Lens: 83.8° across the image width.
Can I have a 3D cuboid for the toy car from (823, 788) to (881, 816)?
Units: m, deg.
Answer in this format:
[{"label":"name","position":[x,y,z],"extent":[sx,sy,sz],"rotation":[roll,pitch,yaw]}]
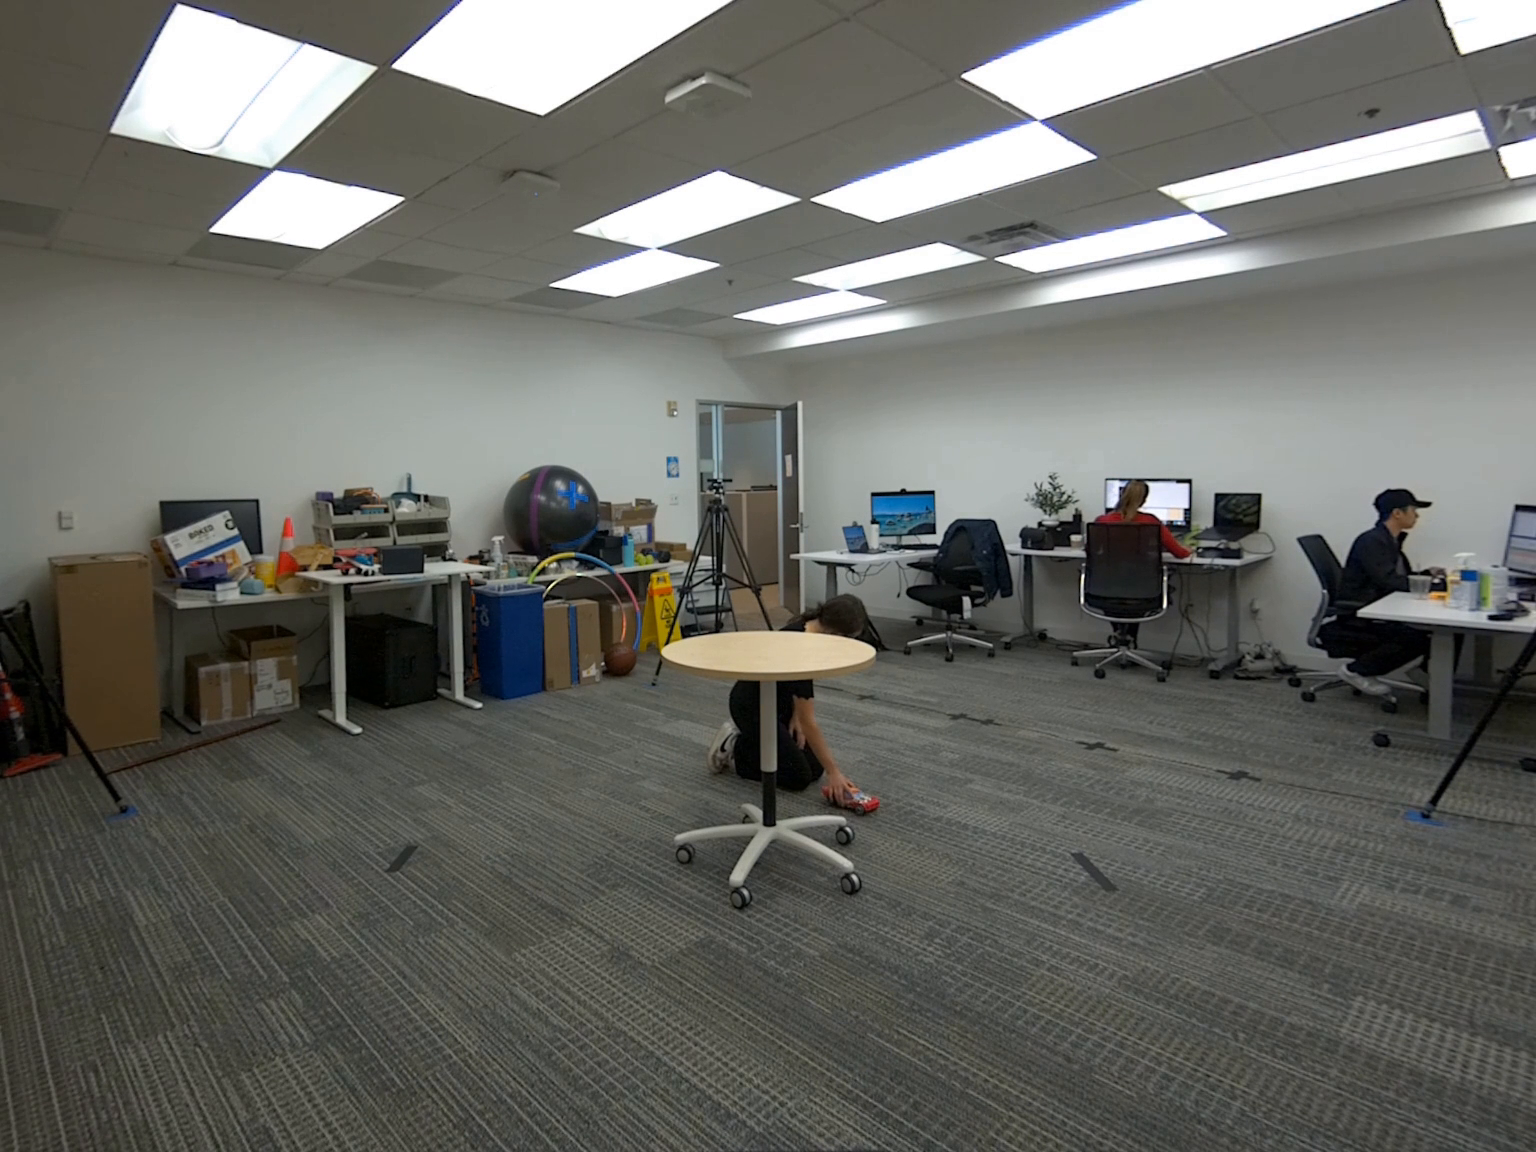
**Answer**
[{"label":"toy car","position":[0.351,0.944,3.637],"extent":[0.127,0.082,0.264],"rotation":[-3,16,-44]}]
